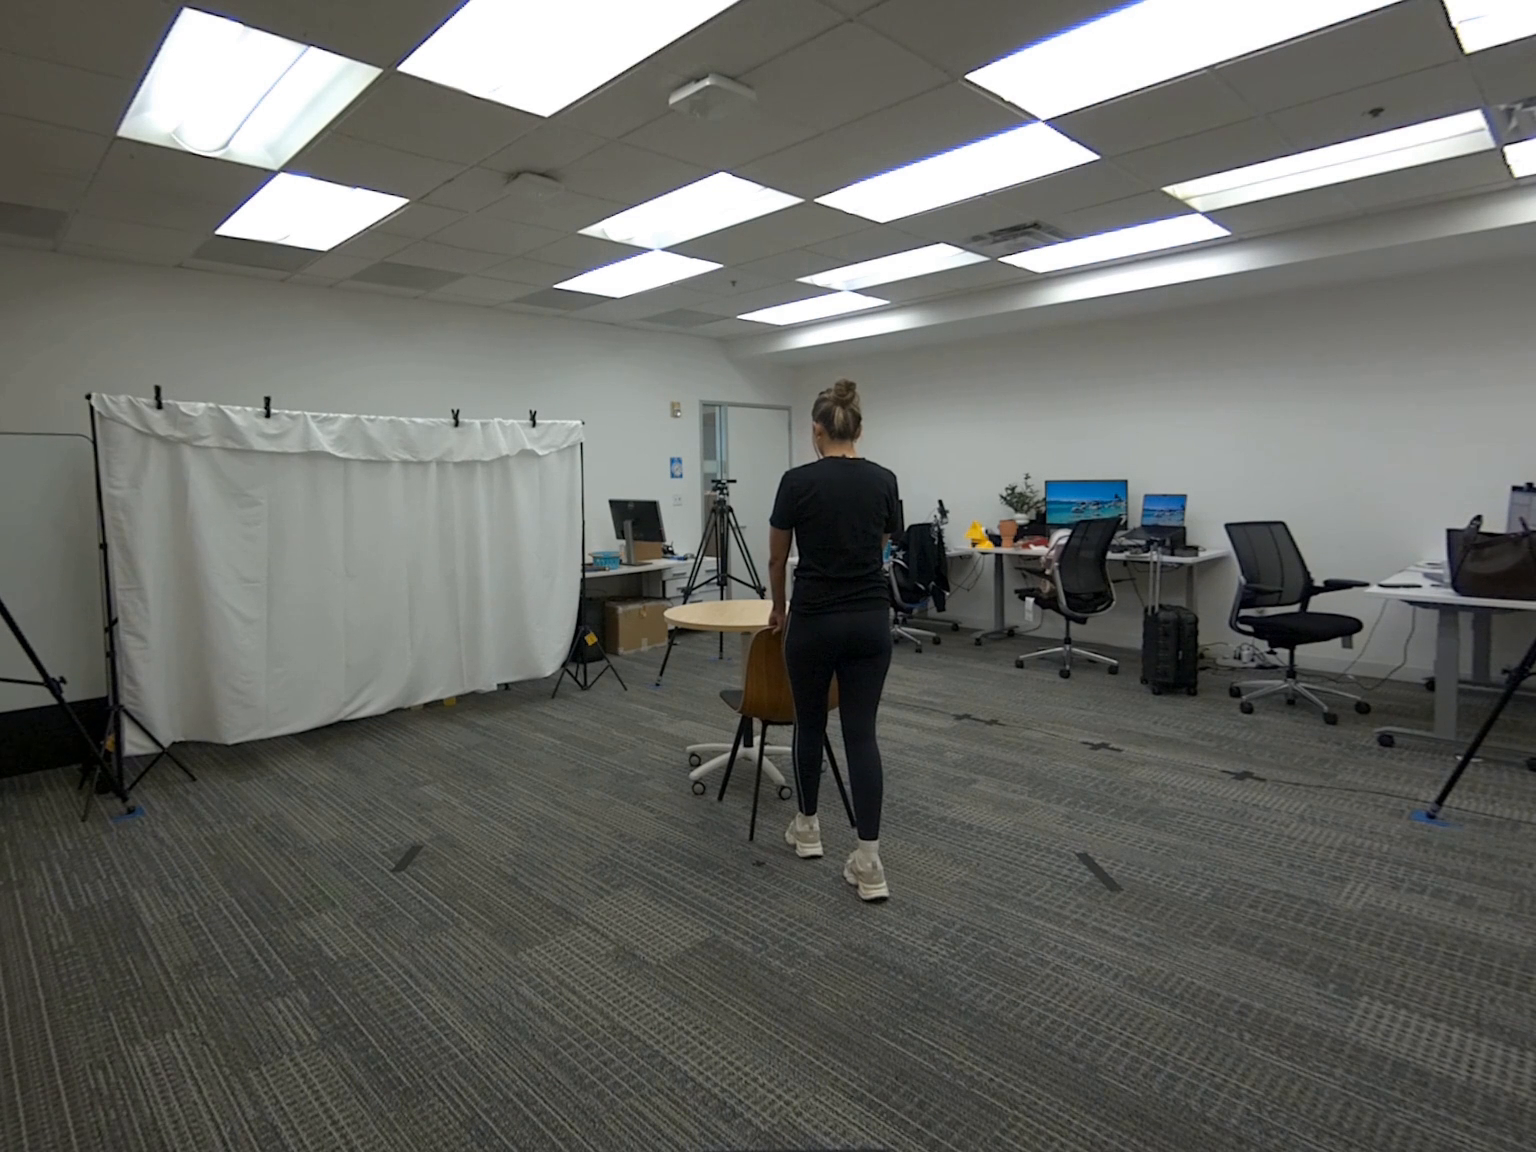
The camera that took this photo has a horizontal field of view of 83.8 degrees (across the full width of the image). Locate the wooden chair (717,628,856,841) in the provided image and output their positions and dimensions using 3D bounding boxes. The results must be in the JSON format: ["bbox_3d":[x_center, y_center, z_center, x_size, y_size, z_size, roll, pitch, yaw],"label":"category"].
[{"bbox_3d":[0.060,0.570,3.551,0.471,0.871,0.535,-2,9,-17],"label":"wooden chair"}]
